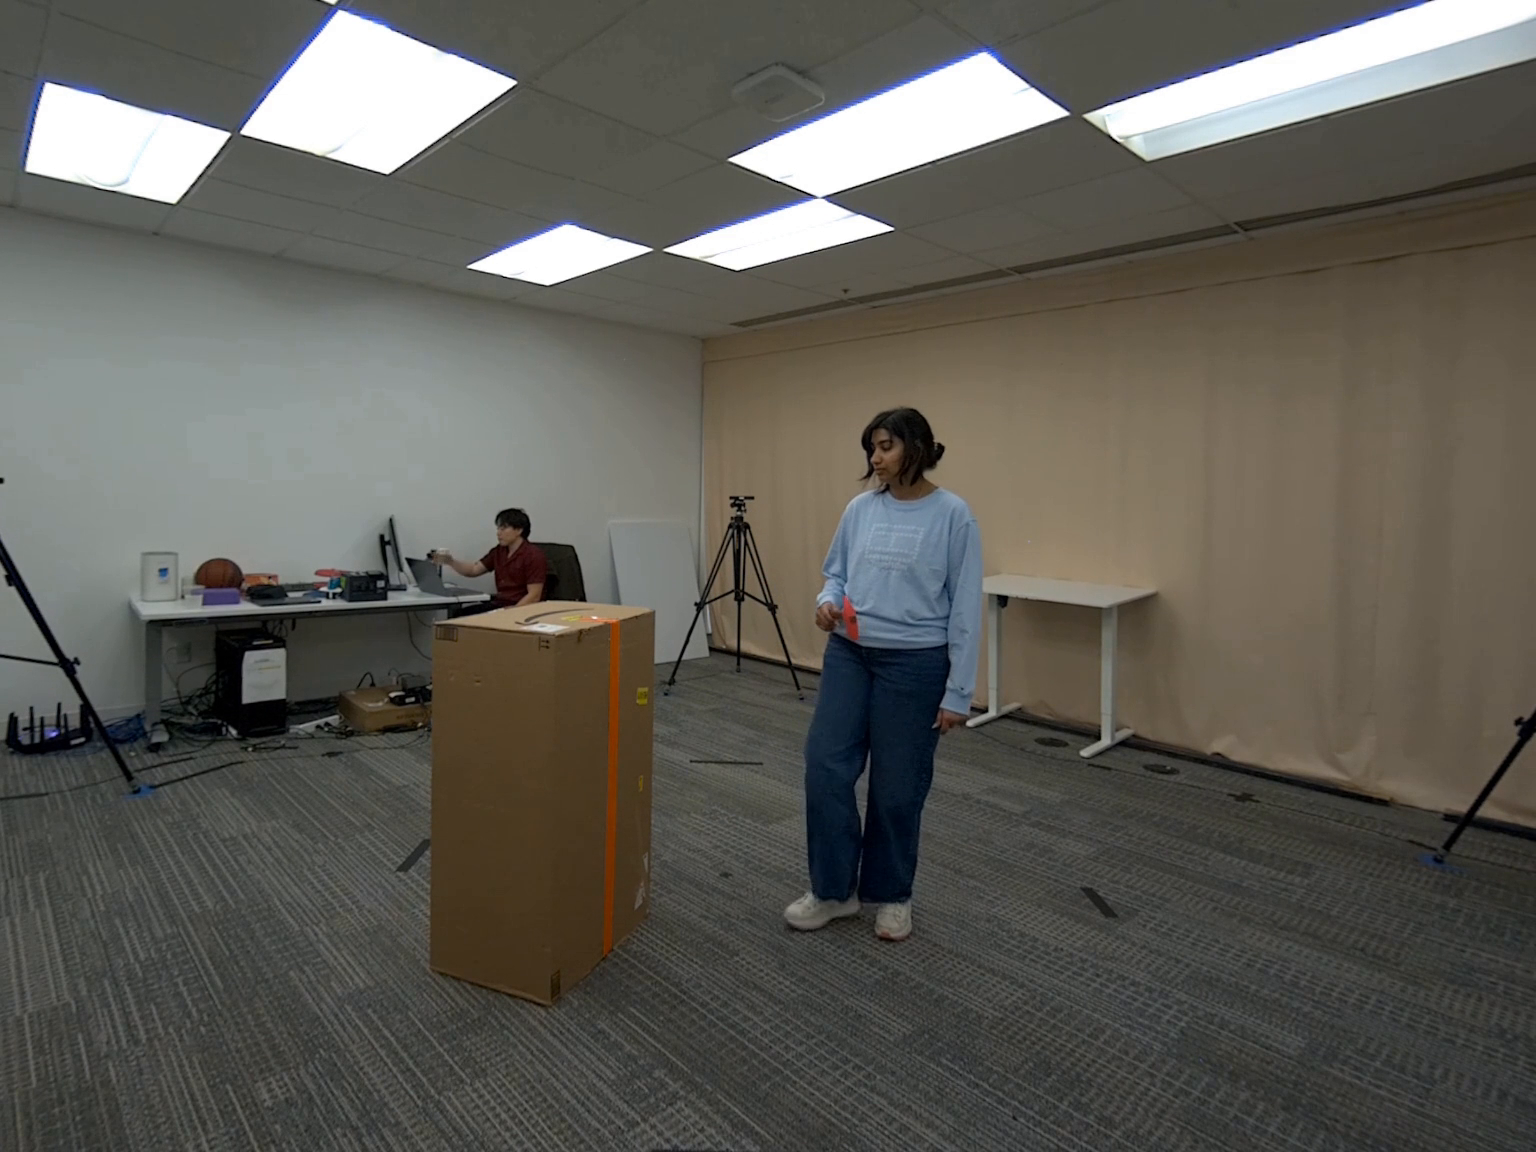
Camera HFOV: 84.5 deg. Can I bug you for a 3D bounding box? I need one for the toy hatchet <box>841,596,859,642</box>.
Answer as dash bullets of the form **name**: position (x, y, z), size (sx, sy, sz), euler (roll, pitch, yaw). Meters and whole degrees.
- **toy hatchet**: position (0.217, 0.144, 2.520), size (0.029, 0.132, 0.268), euler (-12, -11, -5)
